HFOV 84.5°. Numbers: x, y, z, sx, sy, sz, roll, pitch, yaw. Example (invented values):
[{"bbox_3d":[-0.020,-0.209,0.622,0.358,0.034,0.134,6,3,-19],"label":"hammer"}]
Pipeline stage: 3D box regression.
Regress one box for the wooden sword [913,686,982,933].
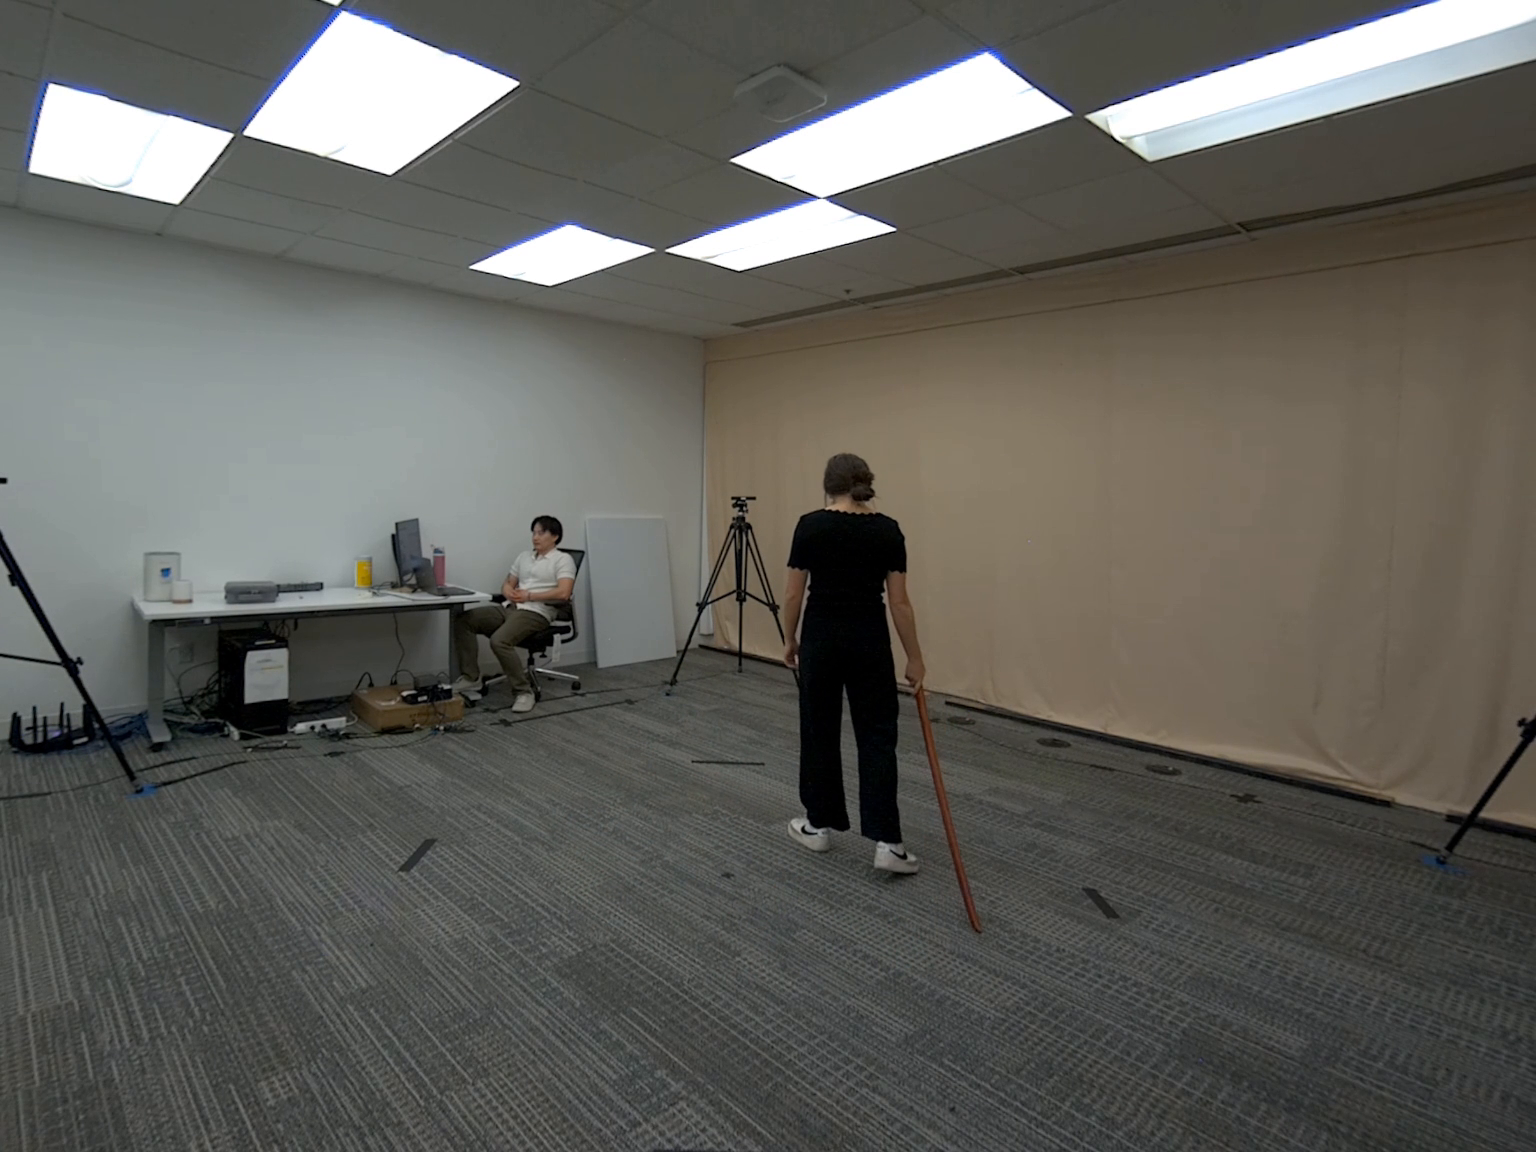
[{"bbox_3d":[0.614,0.751,3.062,0.052,1.050,0.023,-24,-40,20],"label":"wooden sword"}]
